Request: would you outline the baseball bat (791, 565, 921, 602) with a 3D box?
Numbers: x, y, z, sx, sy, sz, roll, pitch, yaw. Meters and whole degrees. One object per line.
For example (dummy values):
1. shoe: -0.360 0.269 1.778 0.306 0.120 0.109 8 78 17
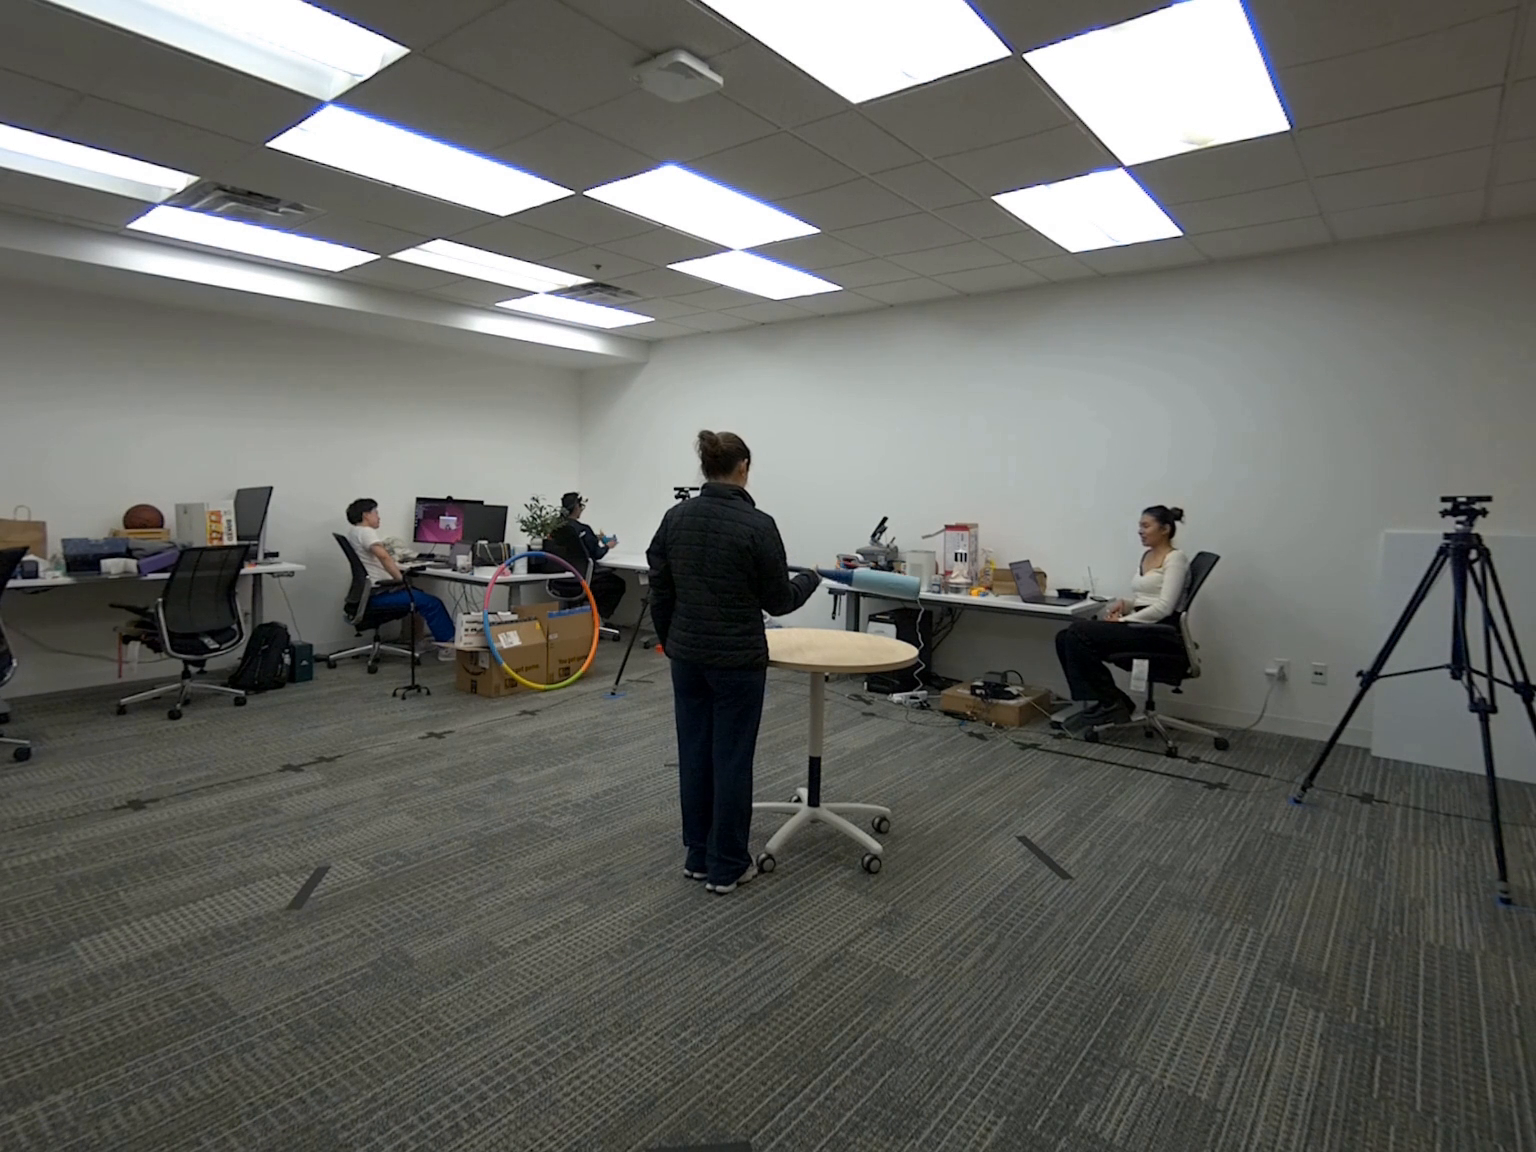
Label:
1. baseball bat: 0.303 0.002 3.223 0.547 0.089 0.089 9 5 5
